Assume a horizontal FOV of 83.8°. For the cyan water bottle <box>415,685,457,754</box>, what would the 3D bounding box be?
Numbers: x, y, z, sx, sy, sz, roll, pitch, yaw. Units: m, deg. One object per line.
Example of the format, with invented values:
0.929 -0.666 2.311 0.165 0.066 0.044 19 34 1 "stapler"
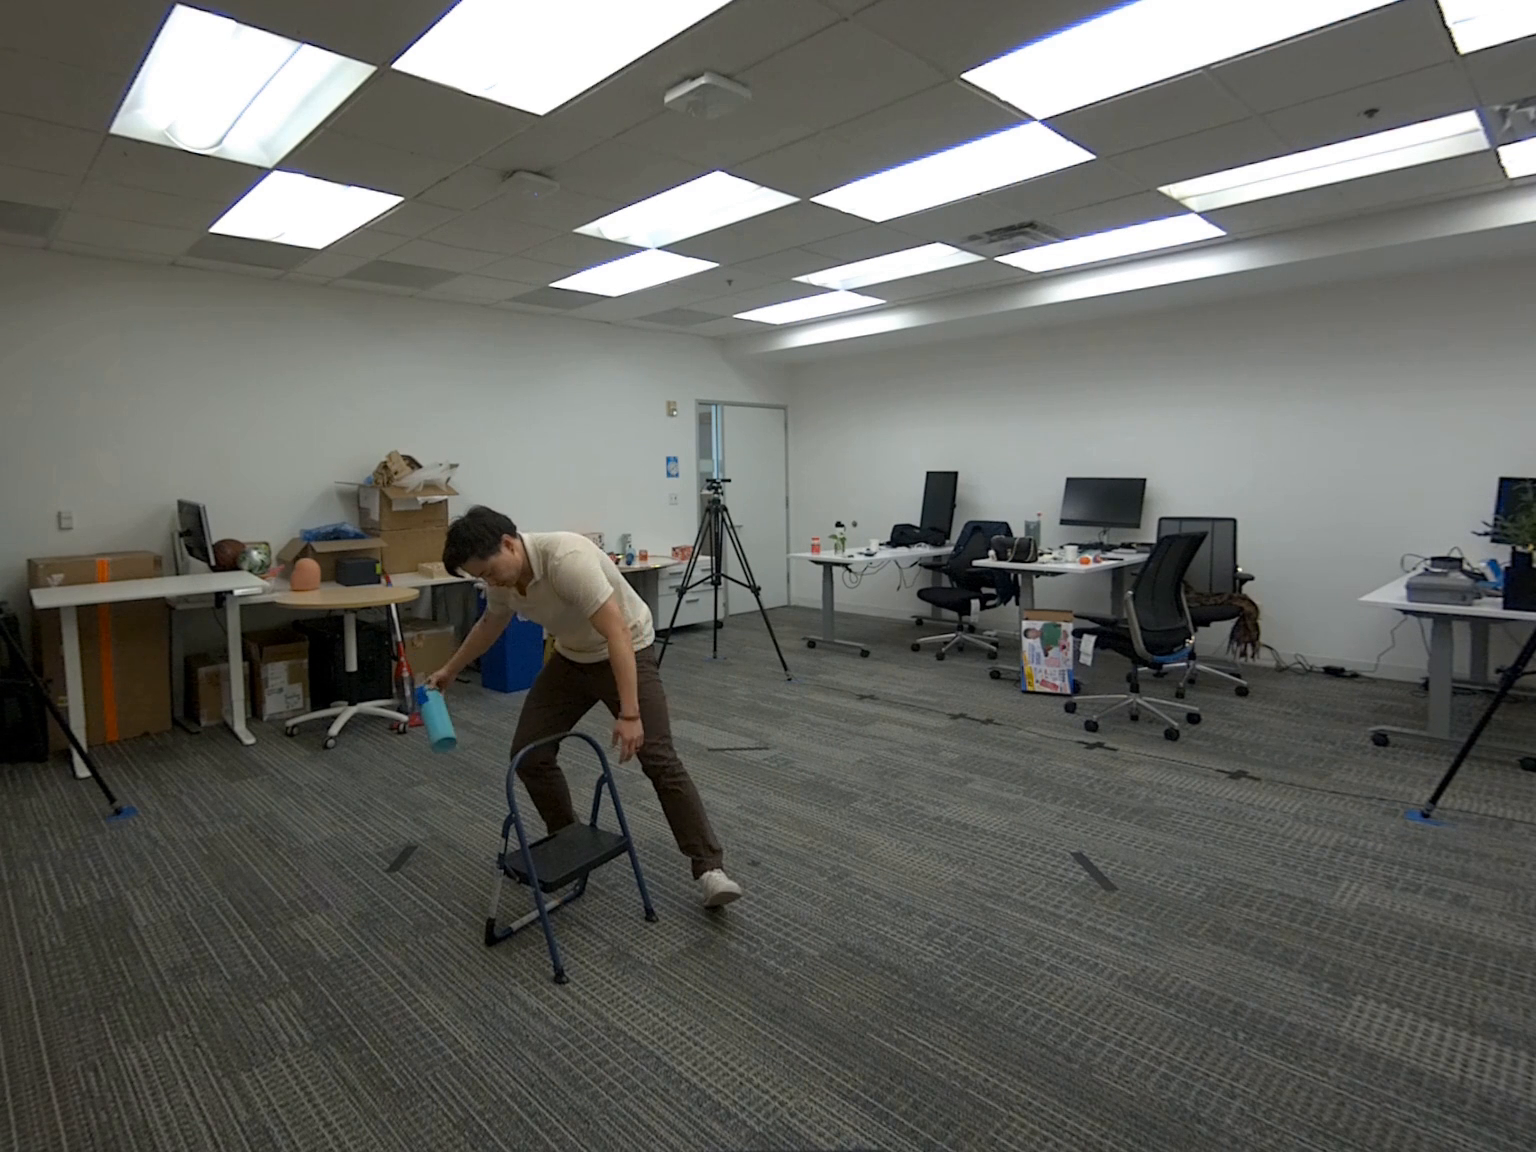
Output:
-1.161 0.496 3.032 0.090 0.091 0.294 -4 40 -36 "cyan water bottle"
